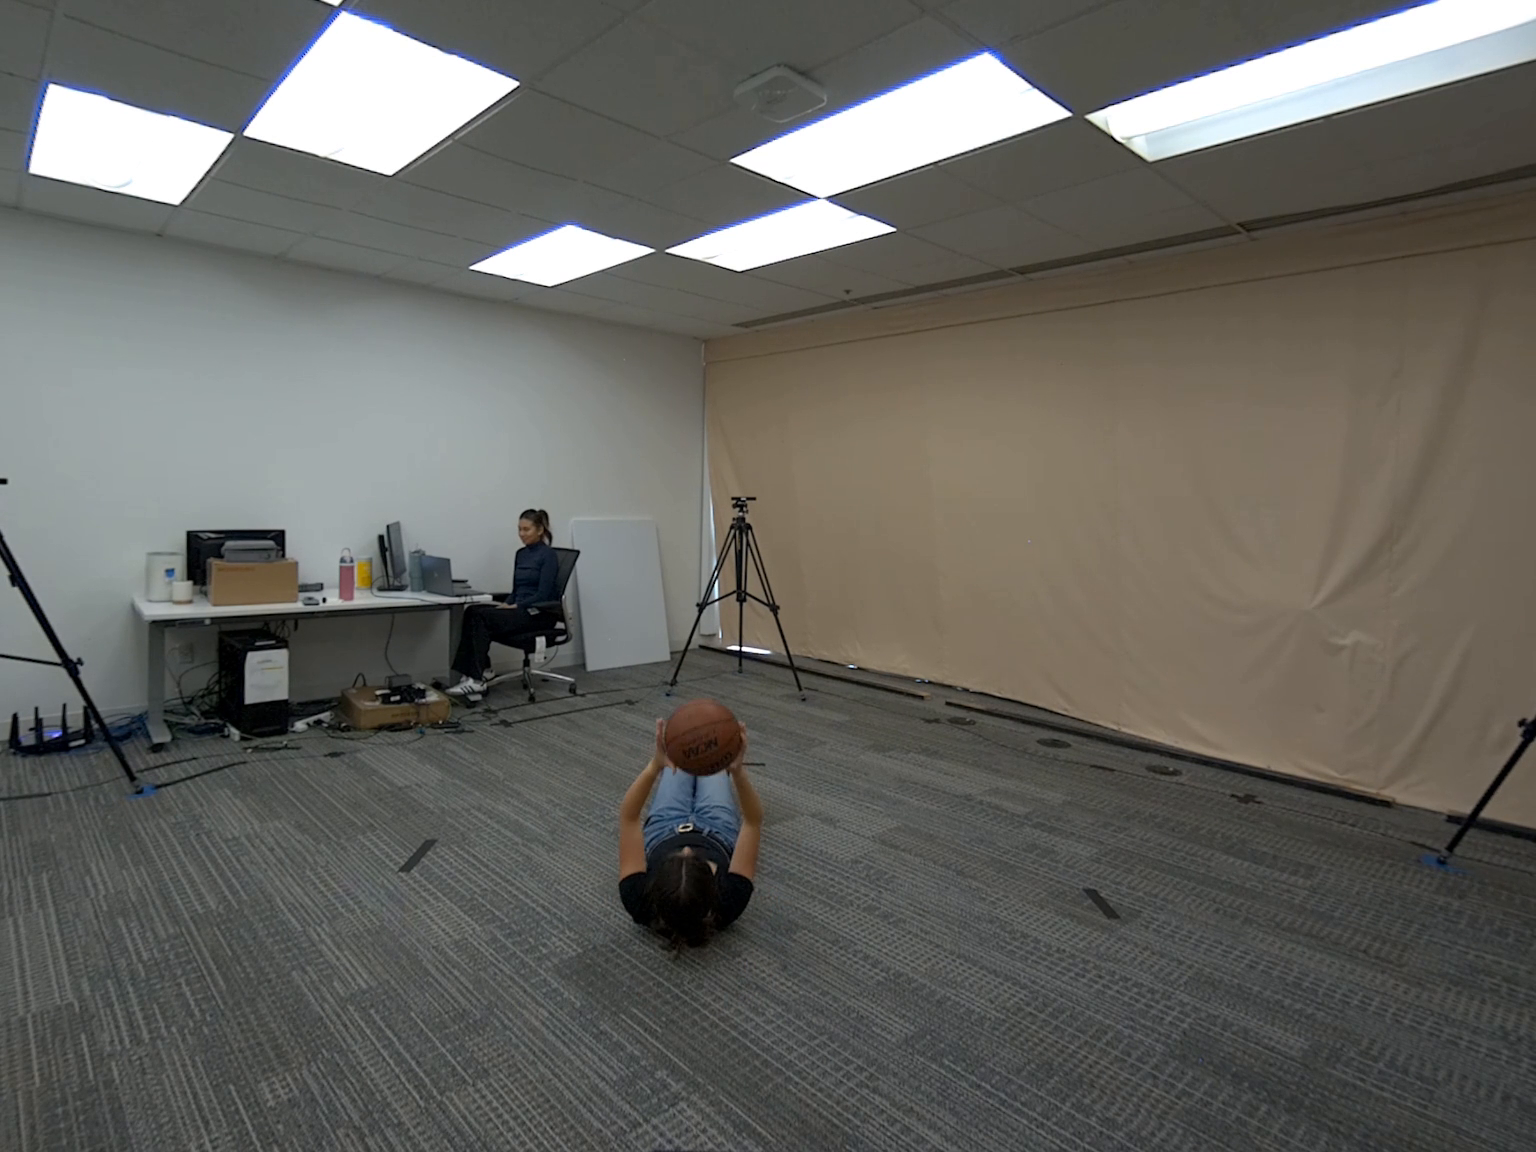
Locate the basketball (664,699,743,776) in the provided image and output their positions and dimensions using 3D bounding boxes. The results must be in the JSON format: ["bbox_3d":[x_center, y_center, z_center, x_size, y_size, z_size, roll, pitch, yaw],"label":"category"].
[{"bbox_3d":[-0.216,0.531,2.591,0.236,0.235,0.237,1,4,-1],"label":"basketball"}]
